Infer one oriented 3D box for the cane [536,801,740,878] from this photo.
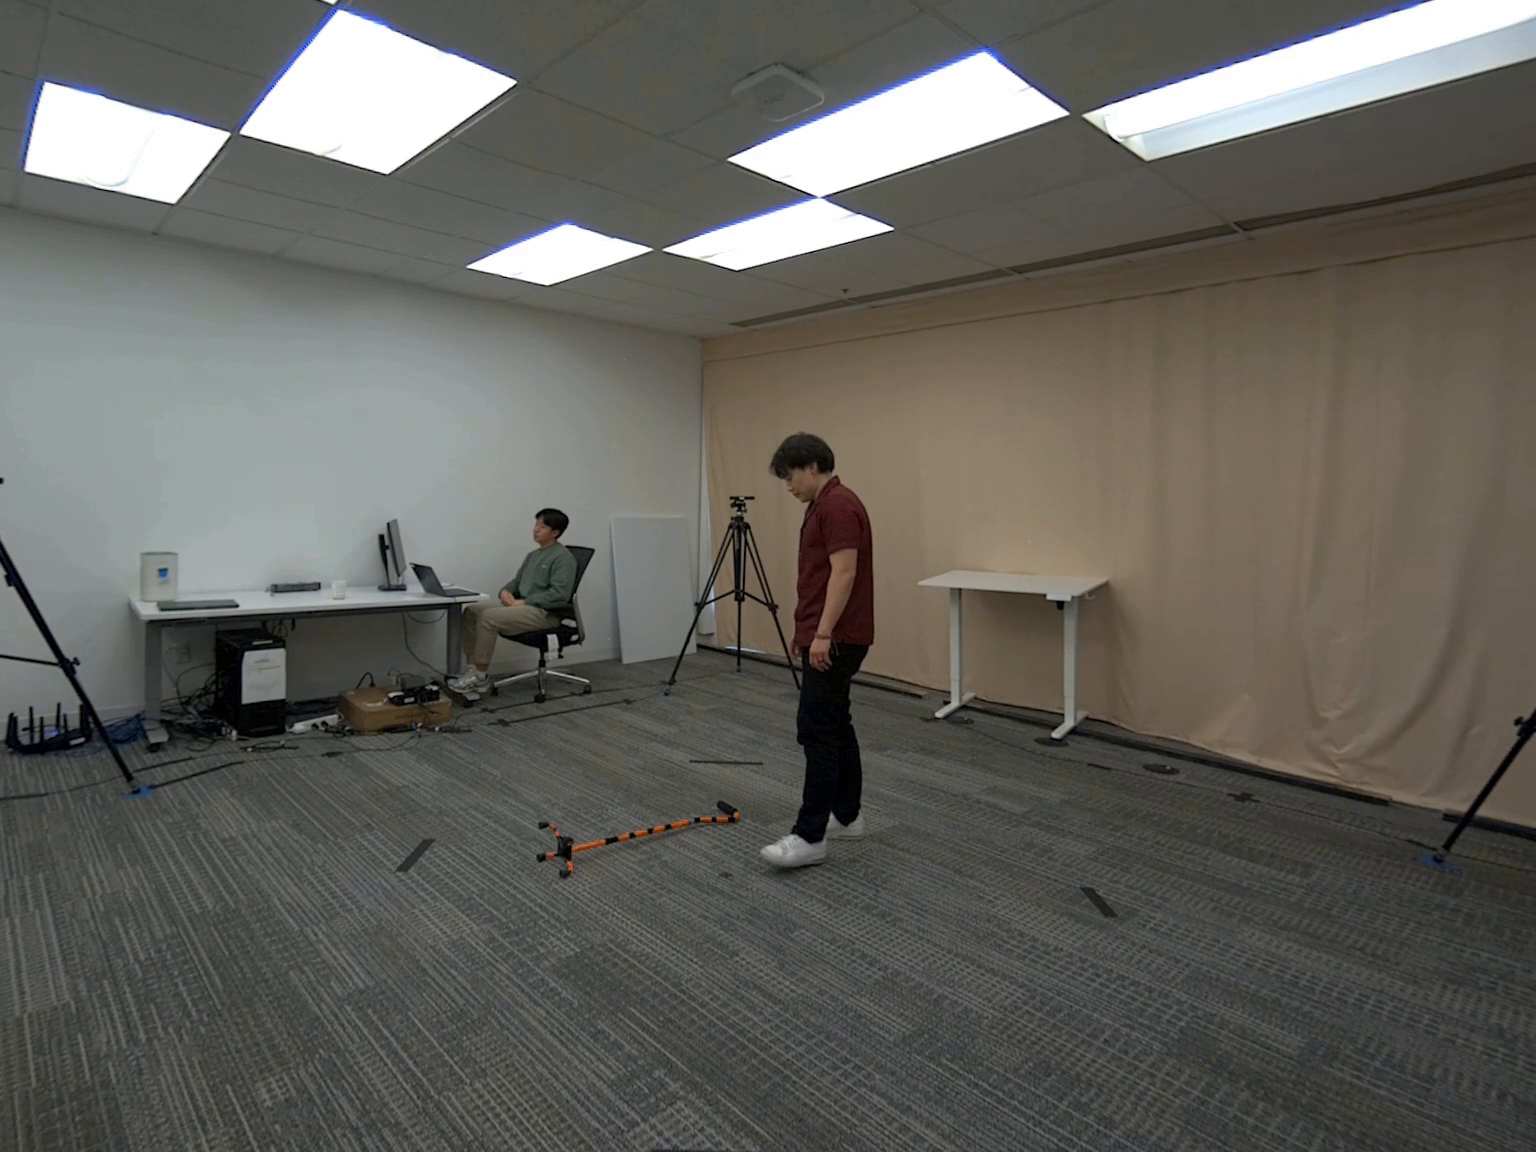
[{"bbox_3d":[-0.484,1.017,3.406,0.886,0.151,0.212,1,4,-42],"label":"cane"}]
